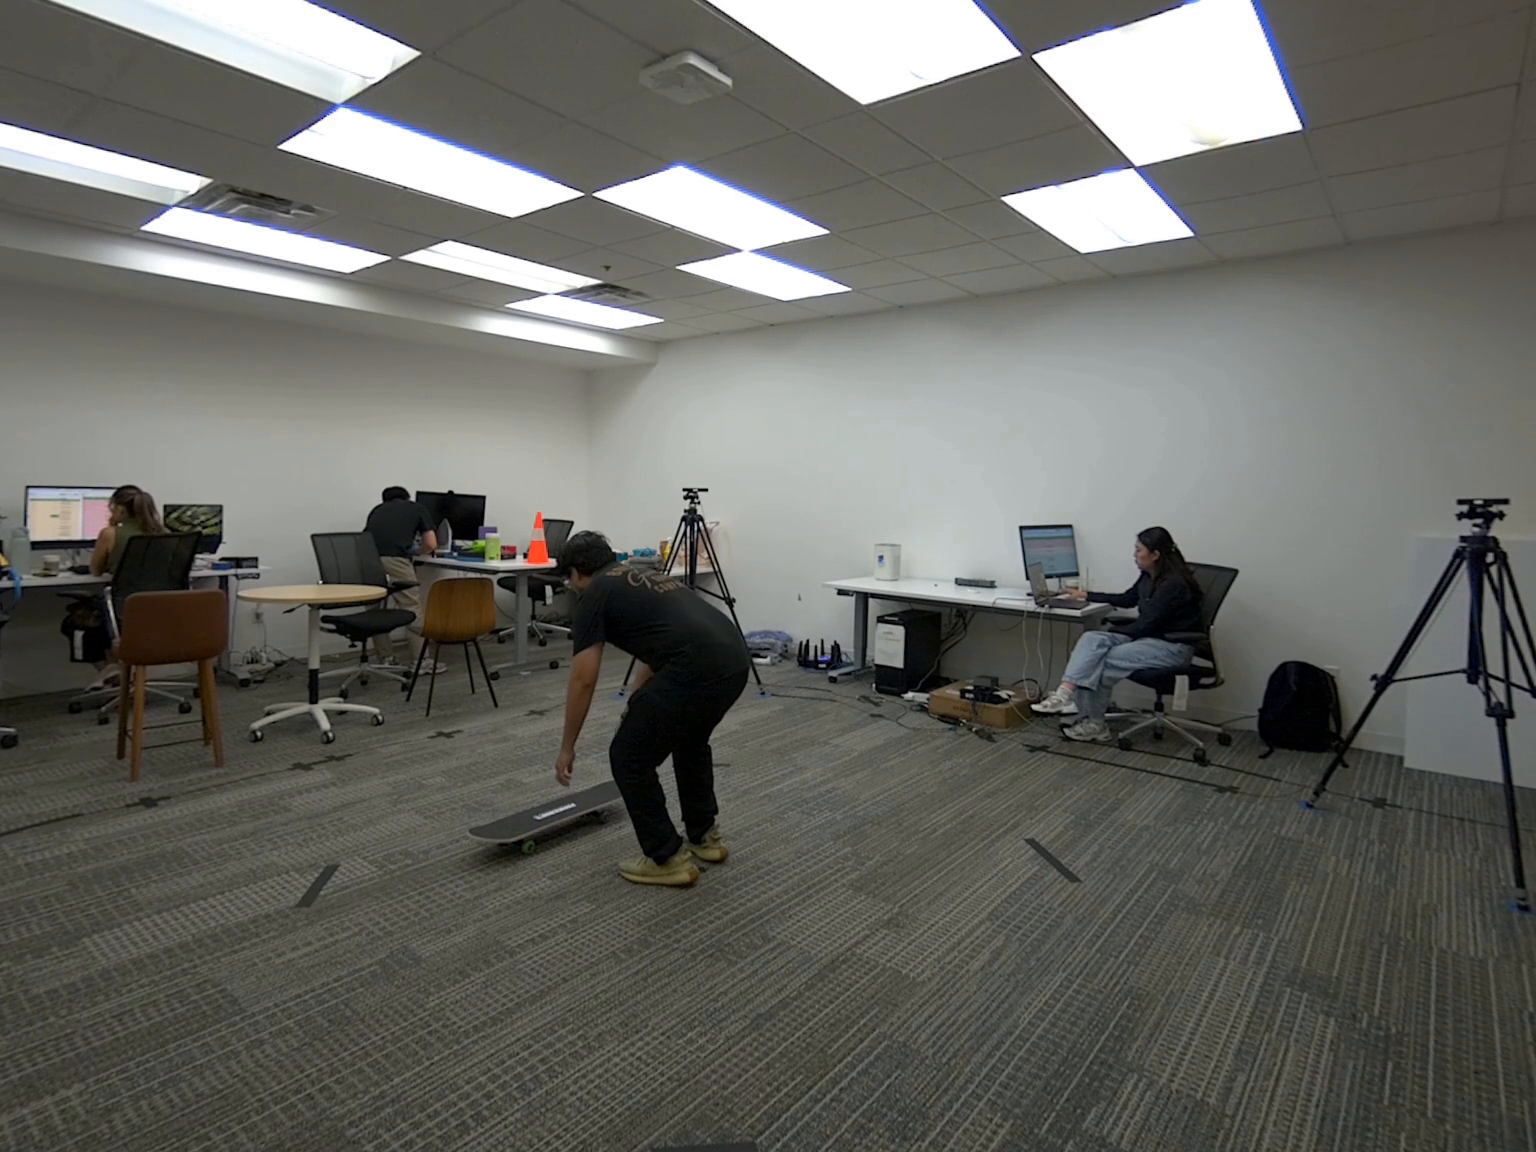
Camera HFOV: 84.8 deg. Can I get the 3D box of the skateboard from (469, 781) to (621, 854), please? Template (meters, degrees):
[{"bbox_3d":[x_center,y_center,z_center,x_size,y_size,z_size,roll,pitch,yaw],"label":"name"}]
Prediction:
[{"bbox_3d":[-0.874,0.979,3.419,0.200,0.110,0.763,3,5,35],"label":"skateboard"}]
